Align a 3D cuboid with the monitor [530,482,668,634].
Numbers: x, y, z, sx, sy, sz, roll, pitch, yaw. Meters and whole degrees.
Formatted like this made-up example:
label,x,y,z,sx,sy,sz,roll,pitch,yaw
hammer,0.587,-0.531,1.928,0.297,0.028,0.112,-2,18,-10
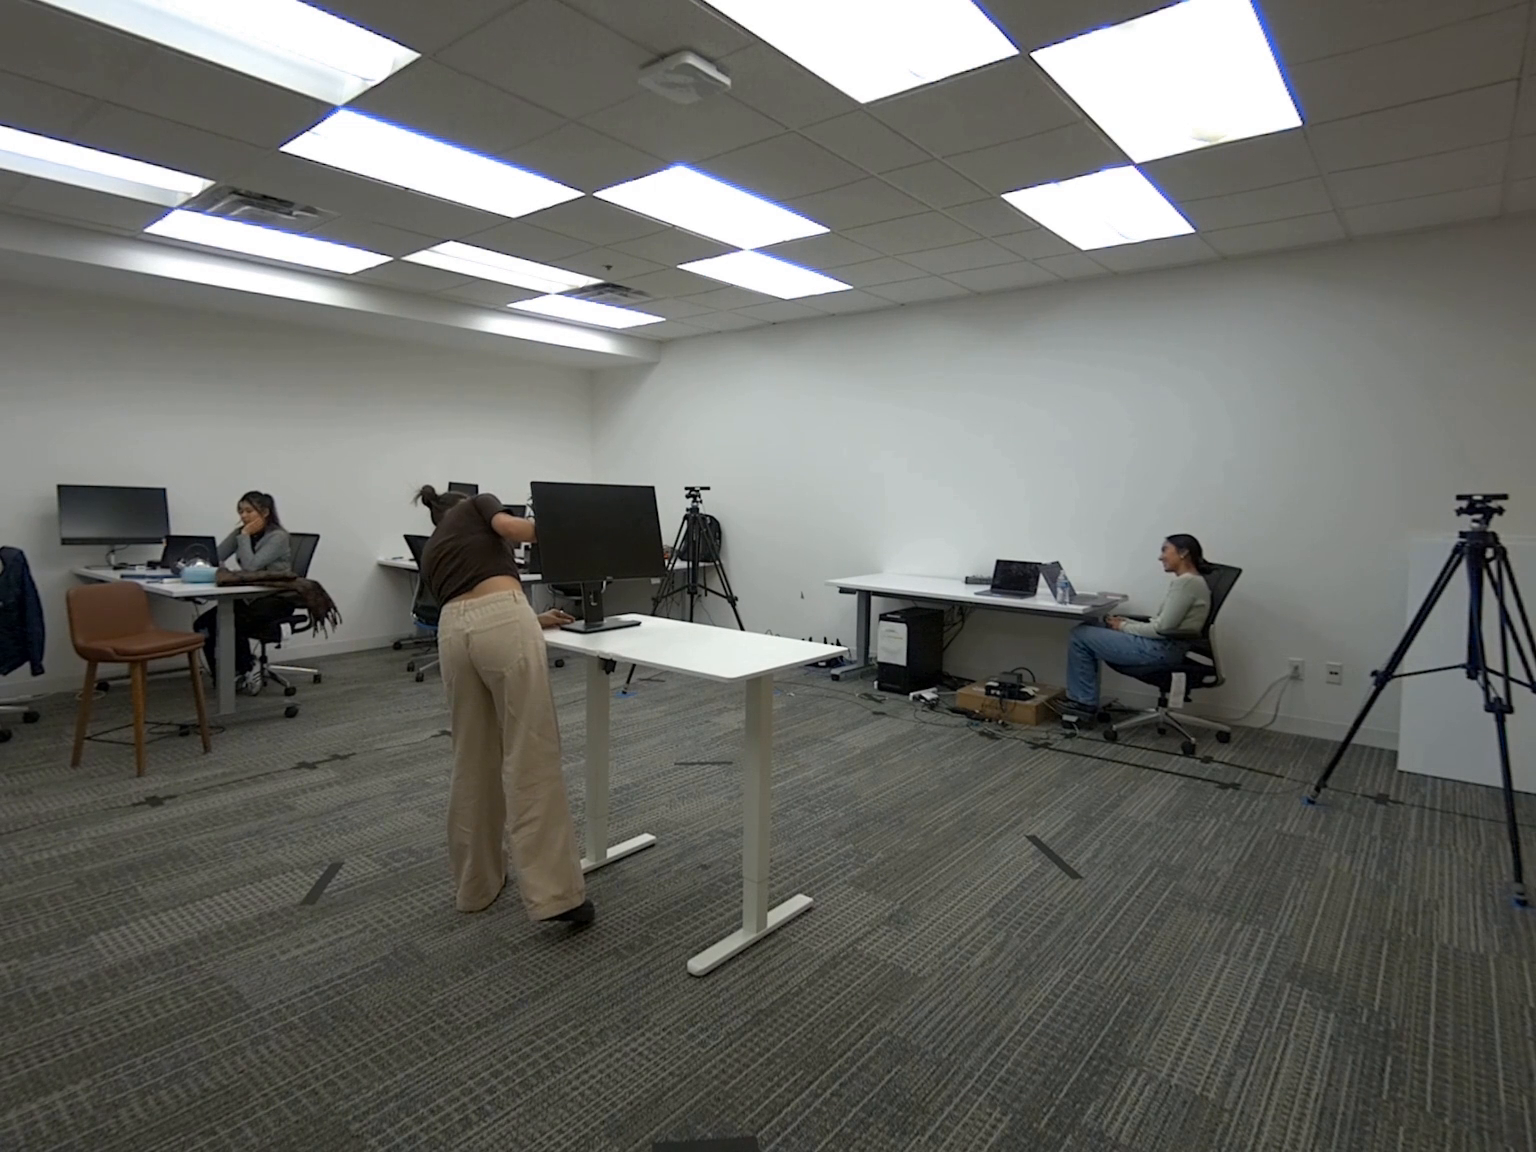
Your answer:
label,x,y,z,sx,sy,sz,roll,pitch,yaw
monitor,-0.633,-0.071,3.044,0.193,0.522,0.523,2,3,43
